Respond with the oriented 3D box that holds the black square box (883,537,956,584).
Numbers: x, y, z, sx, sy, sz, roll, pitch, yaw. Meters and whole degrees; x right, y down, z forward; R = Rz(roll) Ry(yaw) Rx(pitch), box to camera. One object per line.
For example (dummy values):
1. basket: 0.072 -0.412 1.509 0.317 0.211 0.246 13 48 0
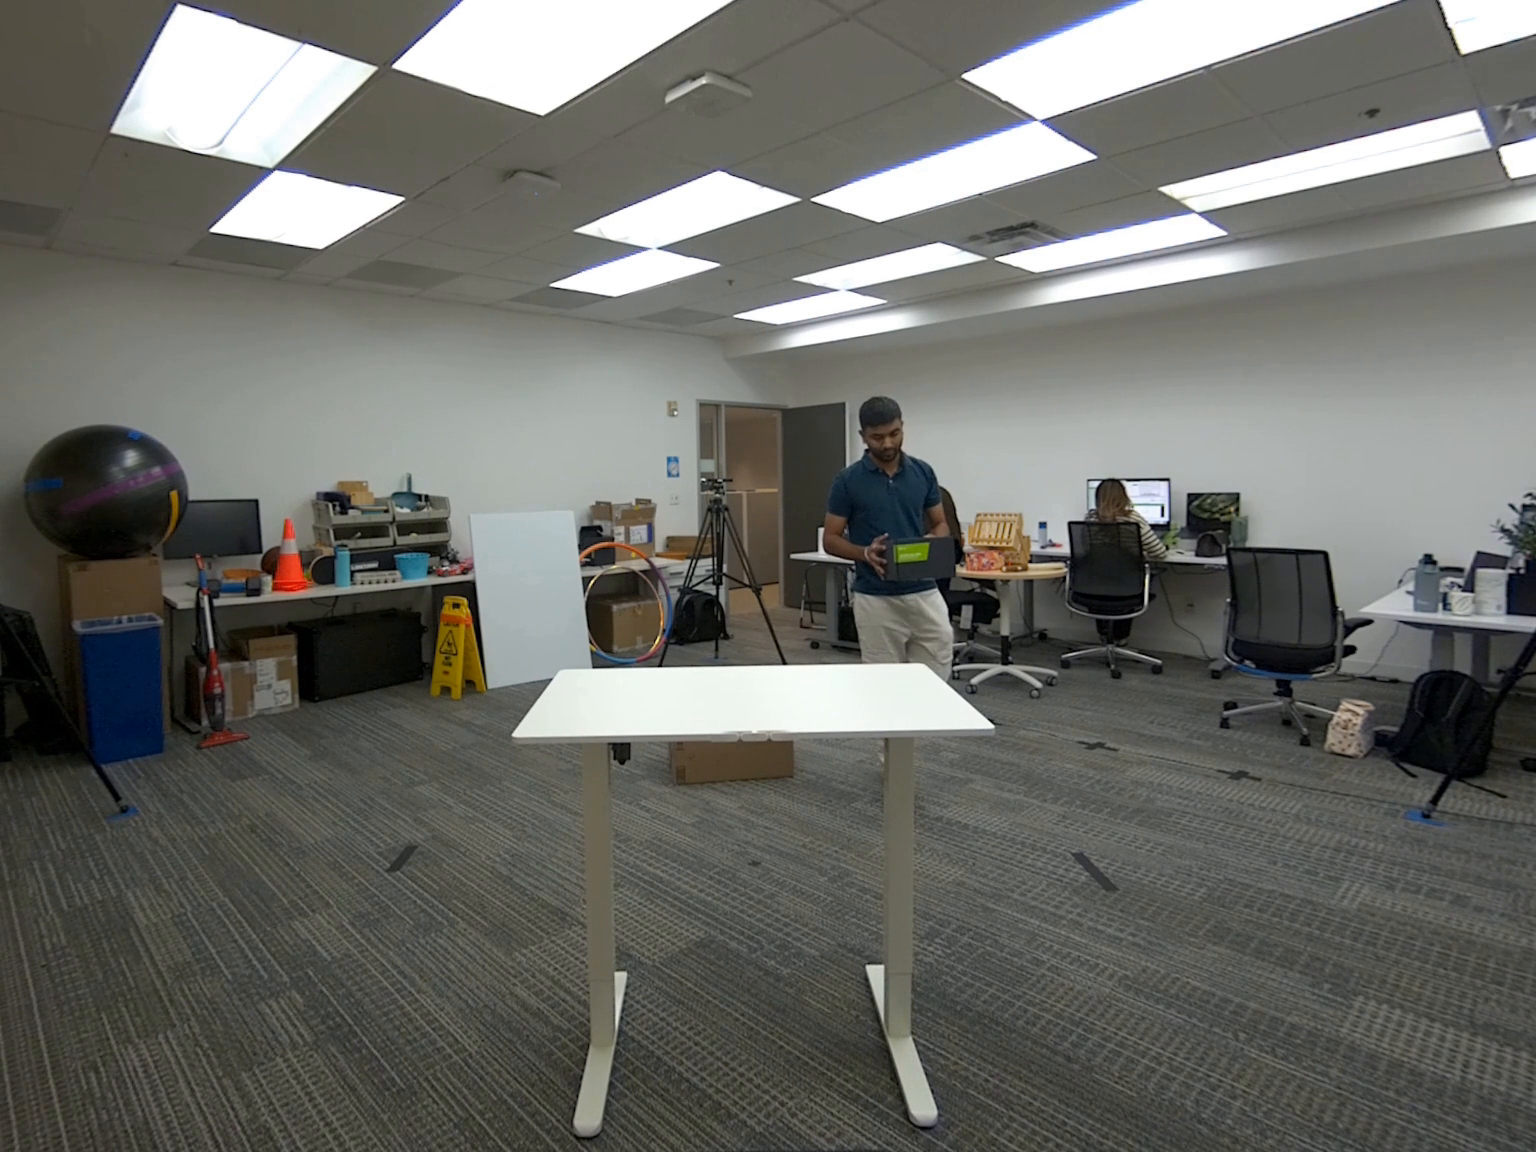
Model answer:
1. black square box: 0.586 -0.067 3.302 0.227 0.156 0.217 -4 0 -3
